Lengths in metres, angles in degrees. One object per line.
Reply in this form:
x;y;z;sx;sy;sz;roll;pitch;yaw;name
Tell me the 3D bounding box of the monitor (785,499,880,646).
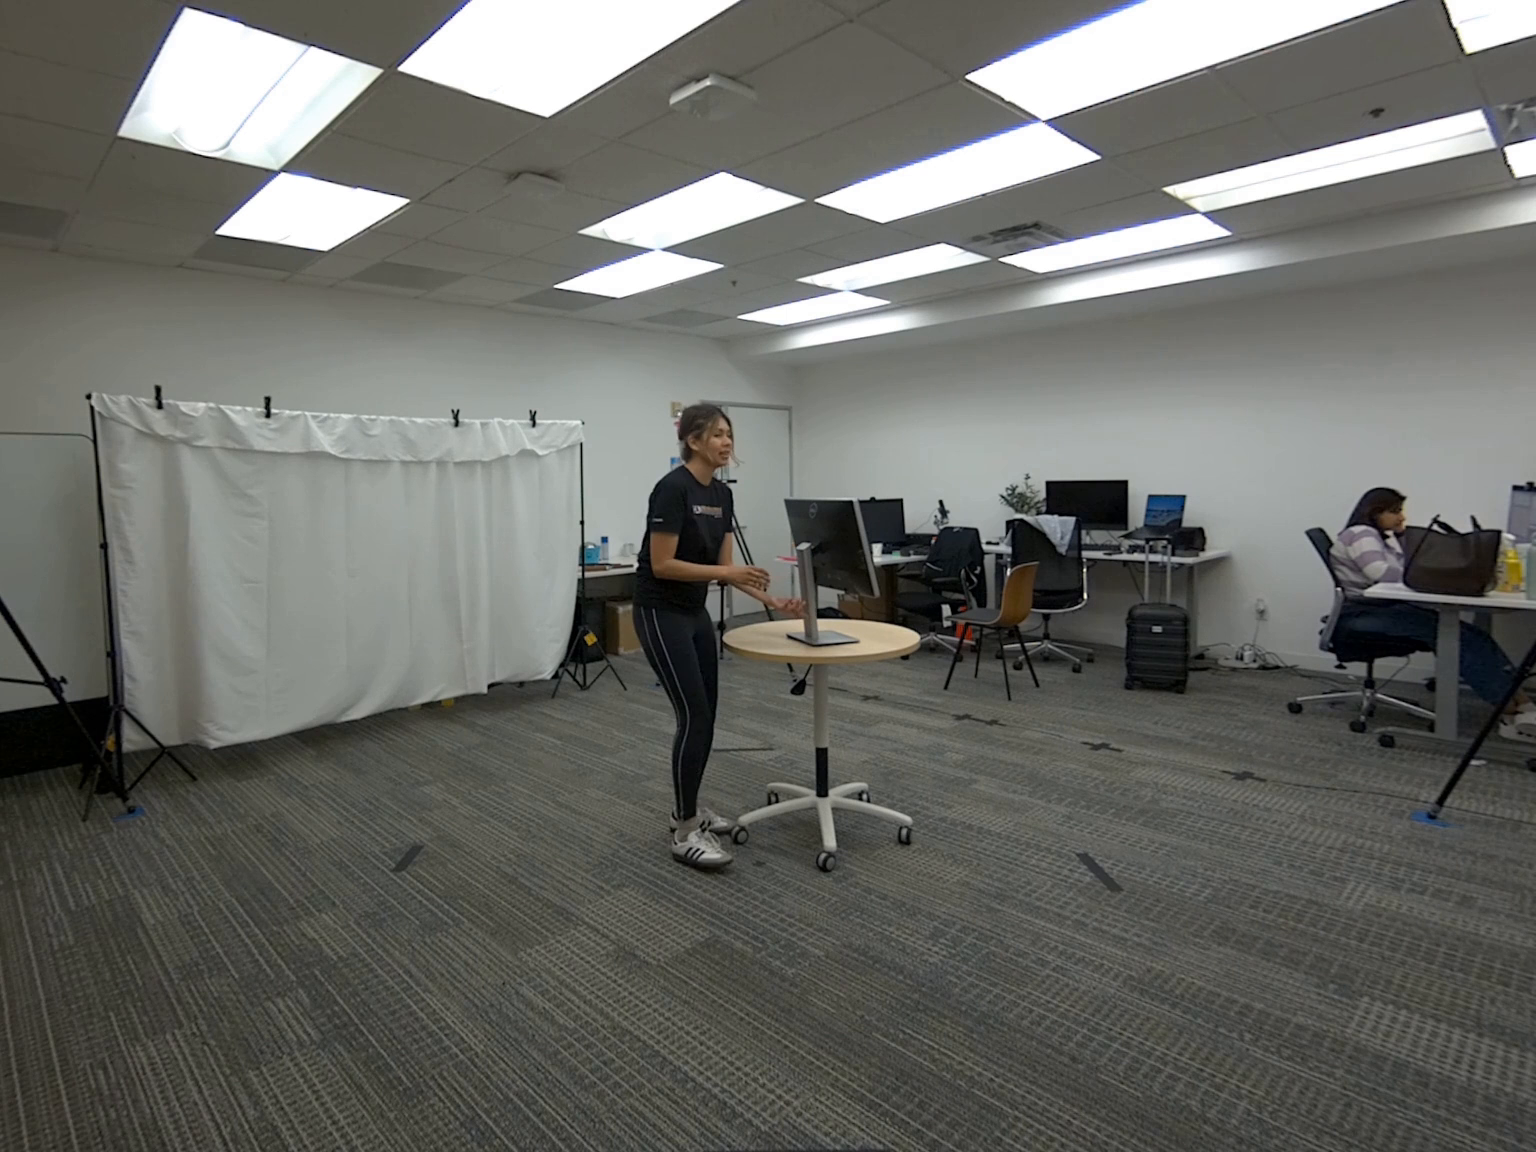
0.202;-0.019;3.254;0.183;0.520;0.553;-4;6;-27;monitor
